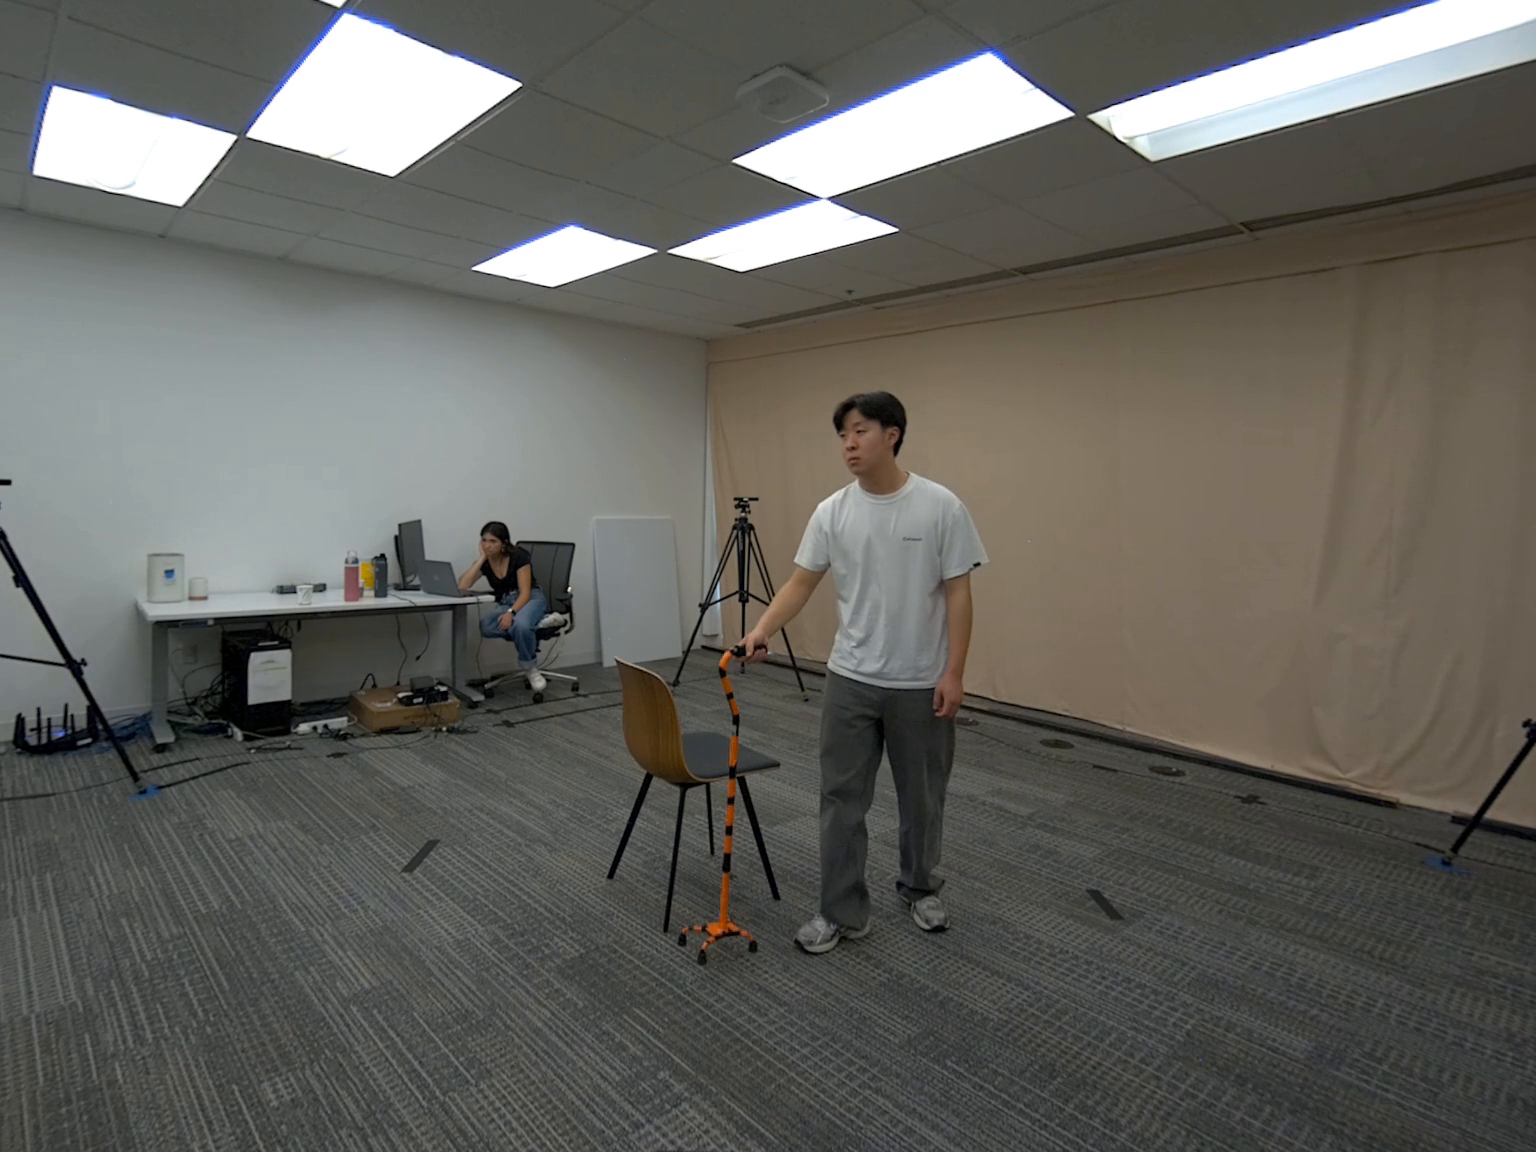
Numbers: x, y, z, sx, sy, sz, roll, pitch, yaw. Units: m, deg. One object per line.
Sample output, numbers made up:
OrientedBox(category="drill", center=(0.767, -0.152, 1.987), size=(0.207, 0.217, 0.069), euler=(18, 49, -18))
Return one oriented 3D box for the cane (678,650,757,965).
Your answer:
OrientedBox(category="cane", center=(-0.126, 0.664, 2.515), size=(0.201, 0.908, 0.155), euler=(4, -1, -41))
